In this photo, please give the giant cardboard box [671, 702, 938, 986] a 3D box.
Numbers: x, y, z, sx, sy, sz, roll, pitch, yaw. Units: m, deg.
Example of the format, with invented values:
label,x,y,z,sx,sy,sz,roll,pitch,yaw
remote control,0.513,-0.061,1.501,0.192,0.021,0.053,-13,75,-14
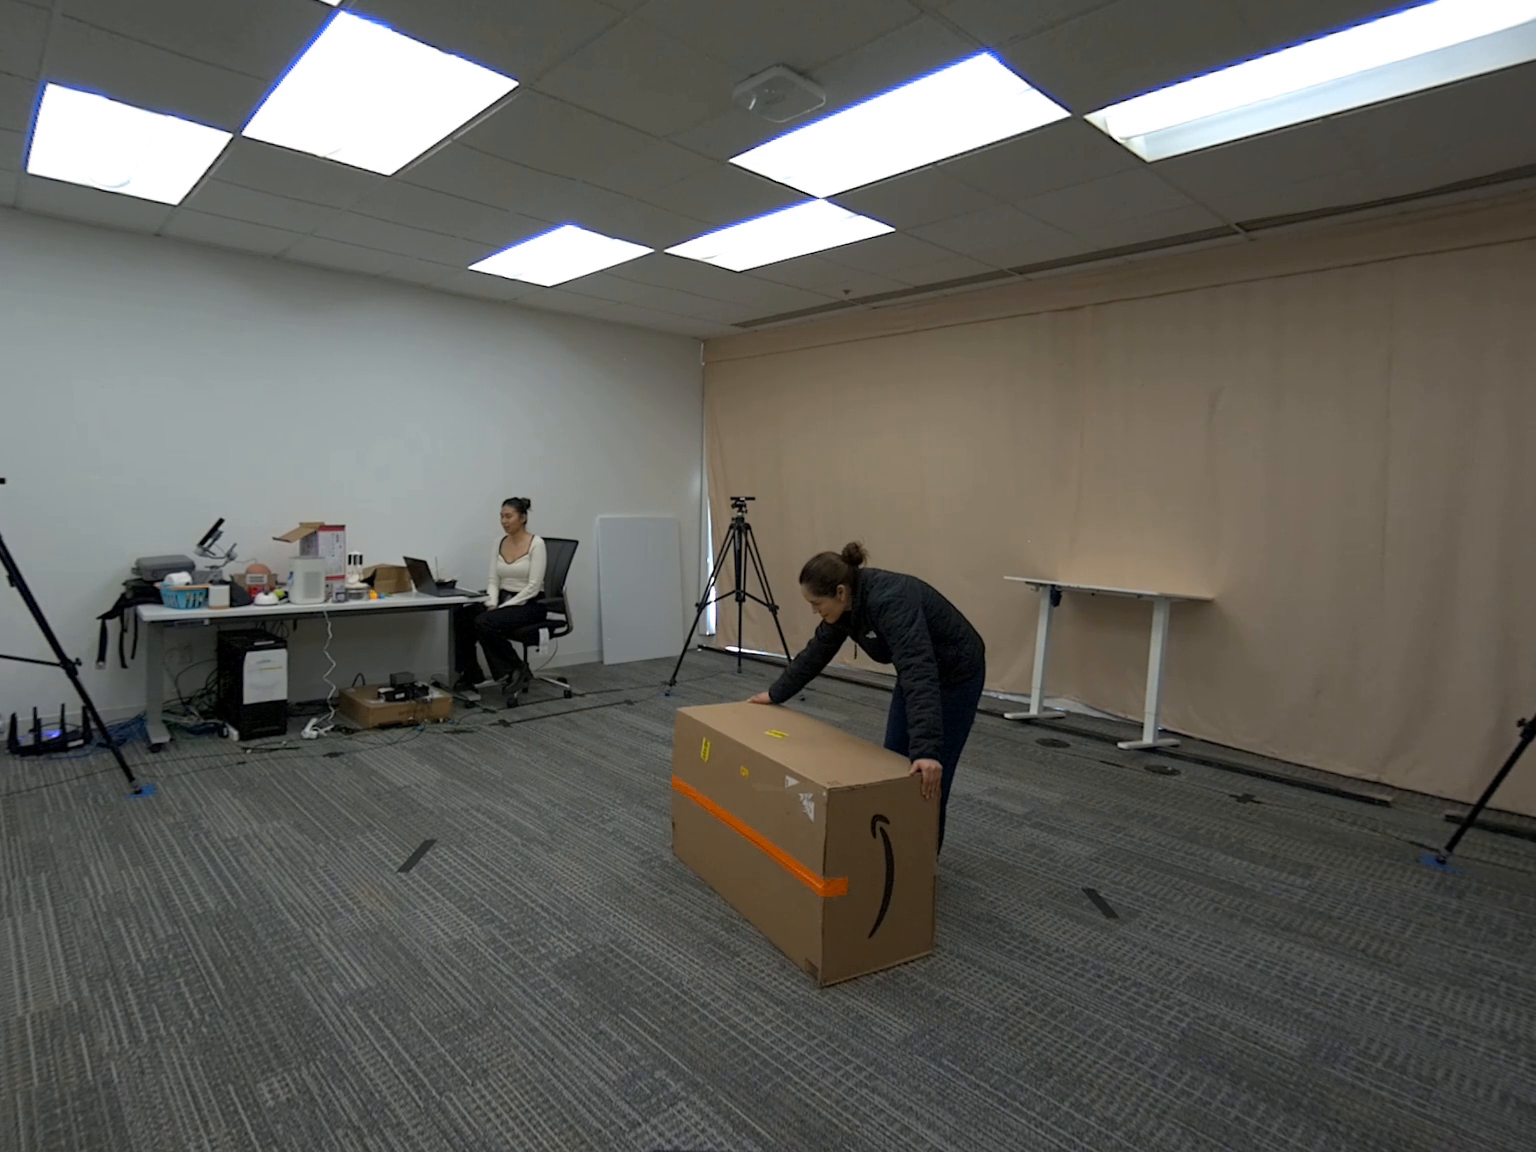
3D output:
label,x,y,z,sx,sy,sz,roll,pitch,yaw
giant cardboard box,0.071,0.845,2.917,0.438,0.582,1.051,-1,5,-31
